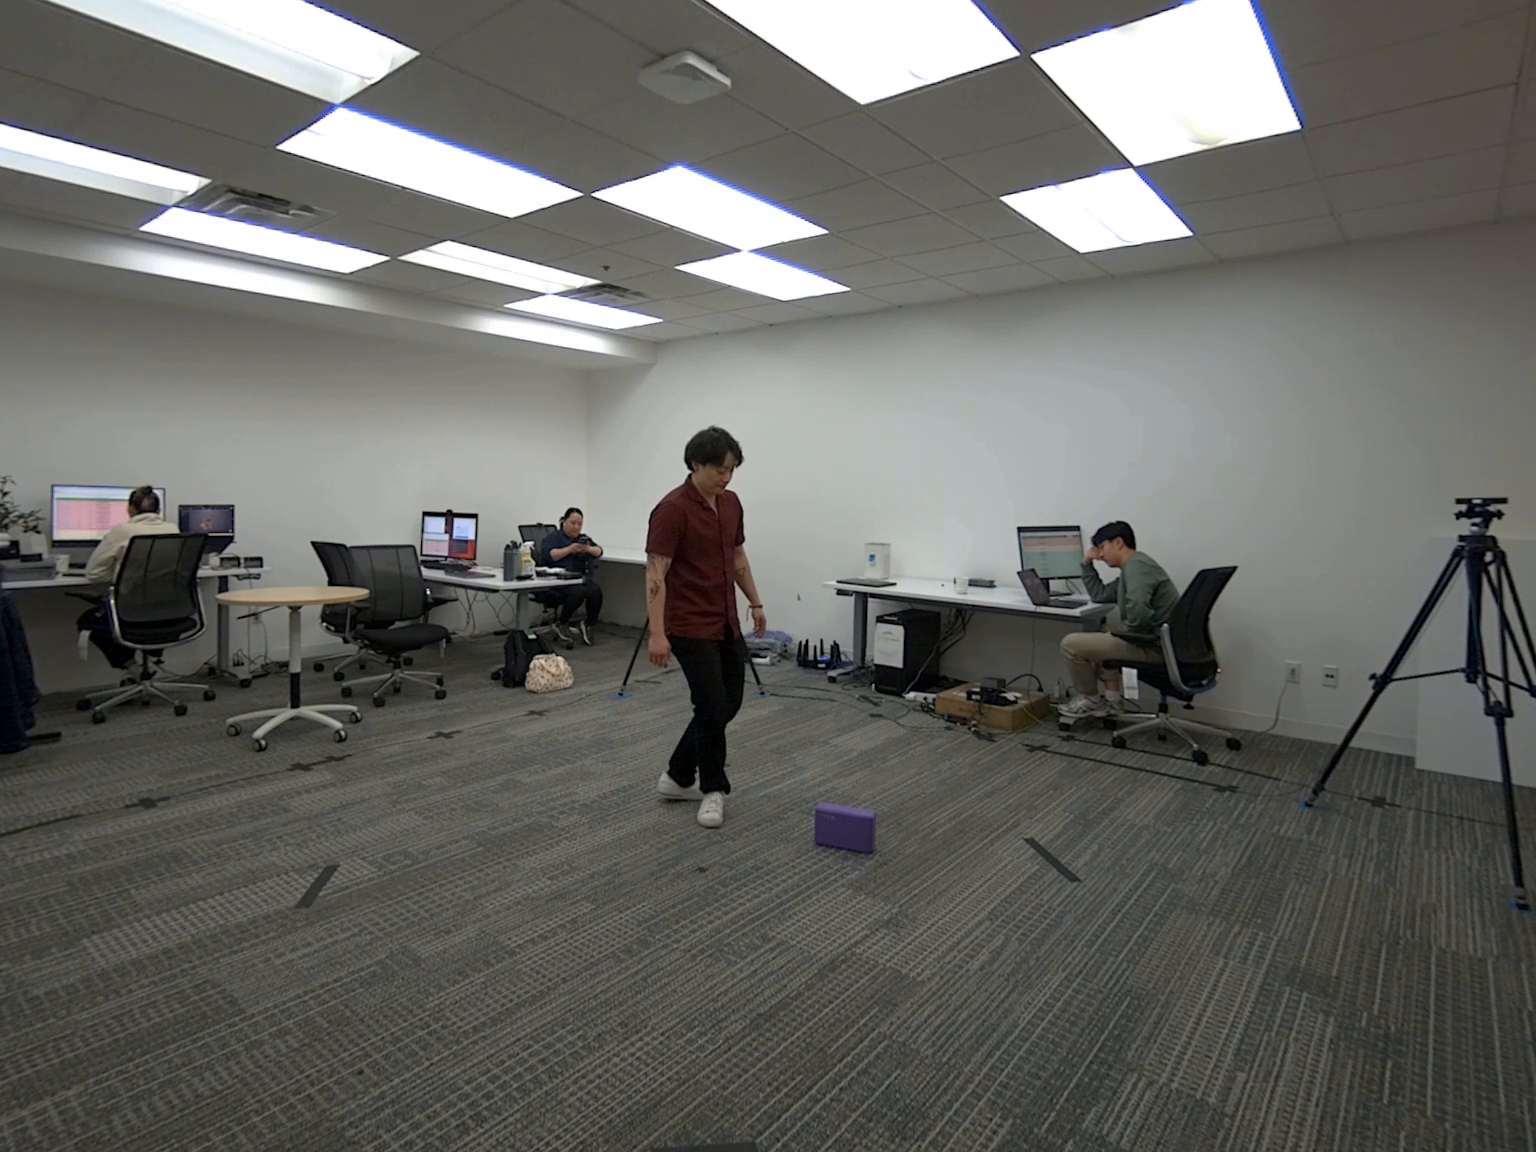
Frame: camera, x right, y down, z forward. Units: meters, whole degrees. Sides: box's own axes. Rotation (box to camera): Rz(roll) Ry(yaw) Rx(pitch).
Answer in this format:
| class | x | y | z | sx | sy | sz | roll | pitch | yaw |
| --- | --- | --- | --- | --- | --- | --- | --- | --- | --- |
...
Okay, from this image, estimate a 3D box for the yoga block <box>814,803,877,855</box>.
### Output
| class | x | y | z | sx | sy | sz | roll | pitch | yaw |
| --- | --- | --- | --- | --- | --- | --- | --- | --- | --- |
| yoga block | 0.297 | 0.984 | 3.337 | 0.234 | 0.148 | 0.075 | 3 | 4 | 21 |
